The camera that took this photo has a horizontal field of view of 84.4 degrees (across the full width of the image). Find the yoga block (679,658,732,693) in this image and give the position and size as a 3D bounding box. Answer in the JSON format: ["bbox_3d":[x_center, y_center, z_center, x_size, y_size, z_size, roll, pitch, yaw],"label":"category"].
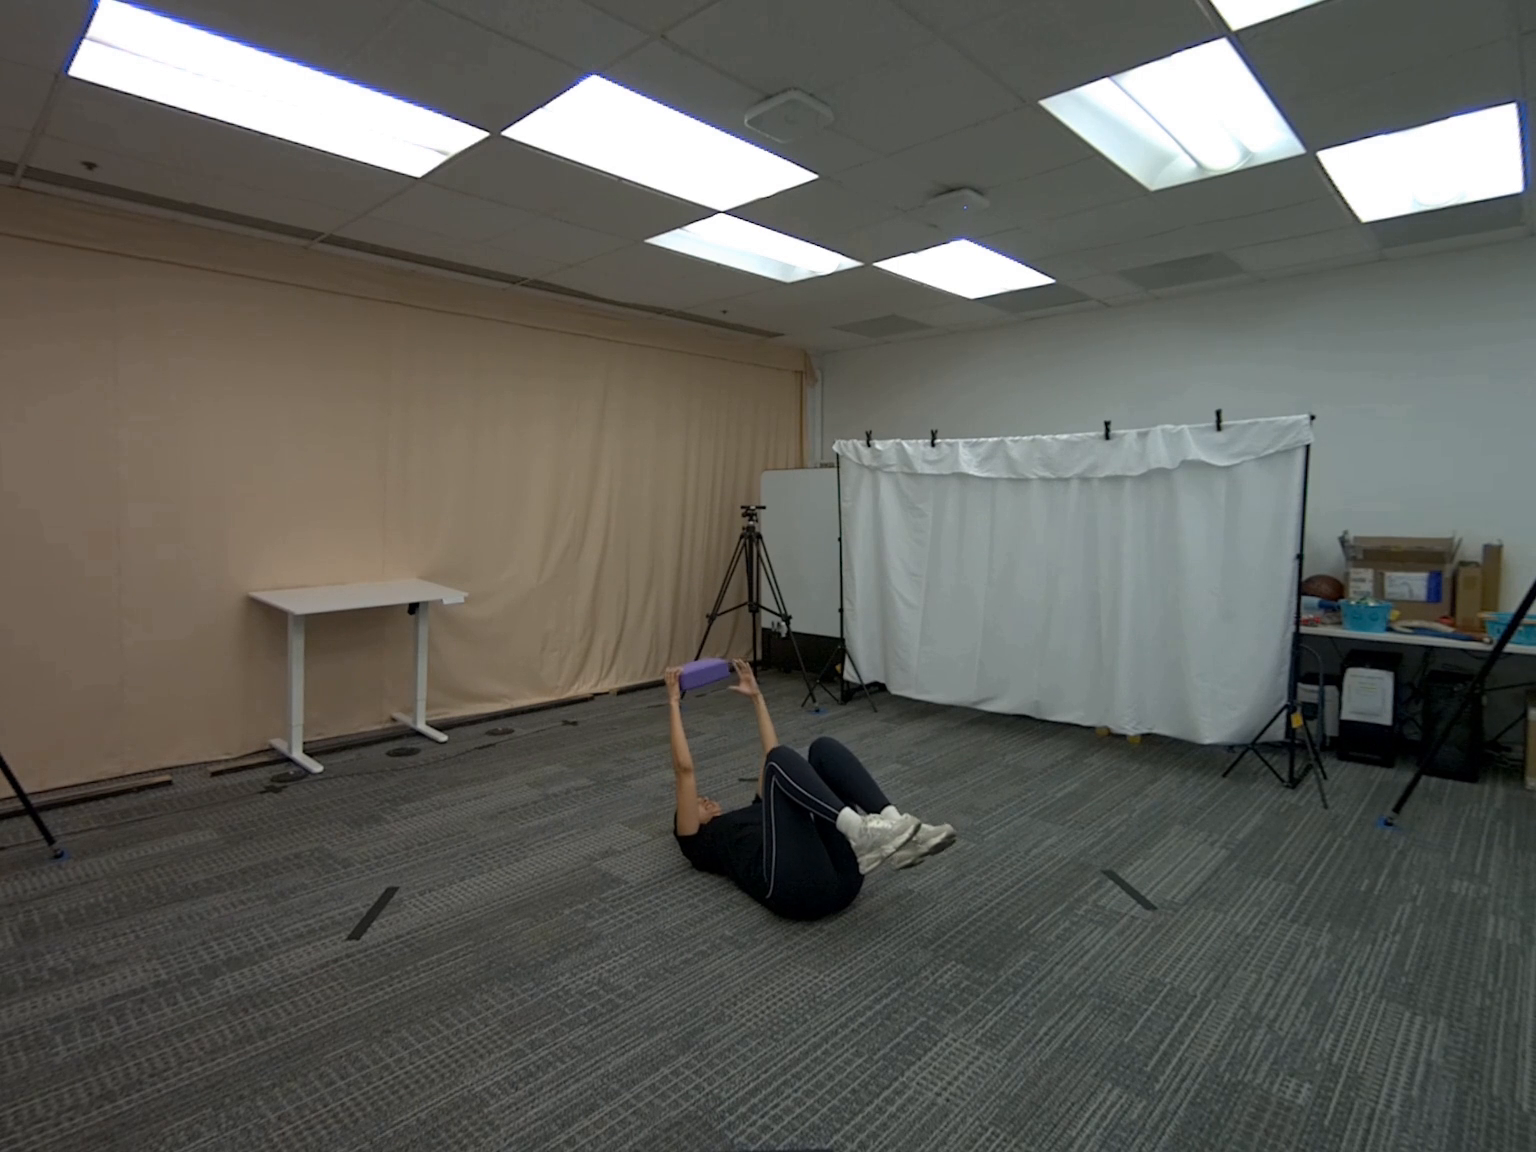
[{"bbox_3d":[-0.292,0.405,3.475,0.223,0.076,0.153,-12,7,-39],"label":"yoga block"}]
